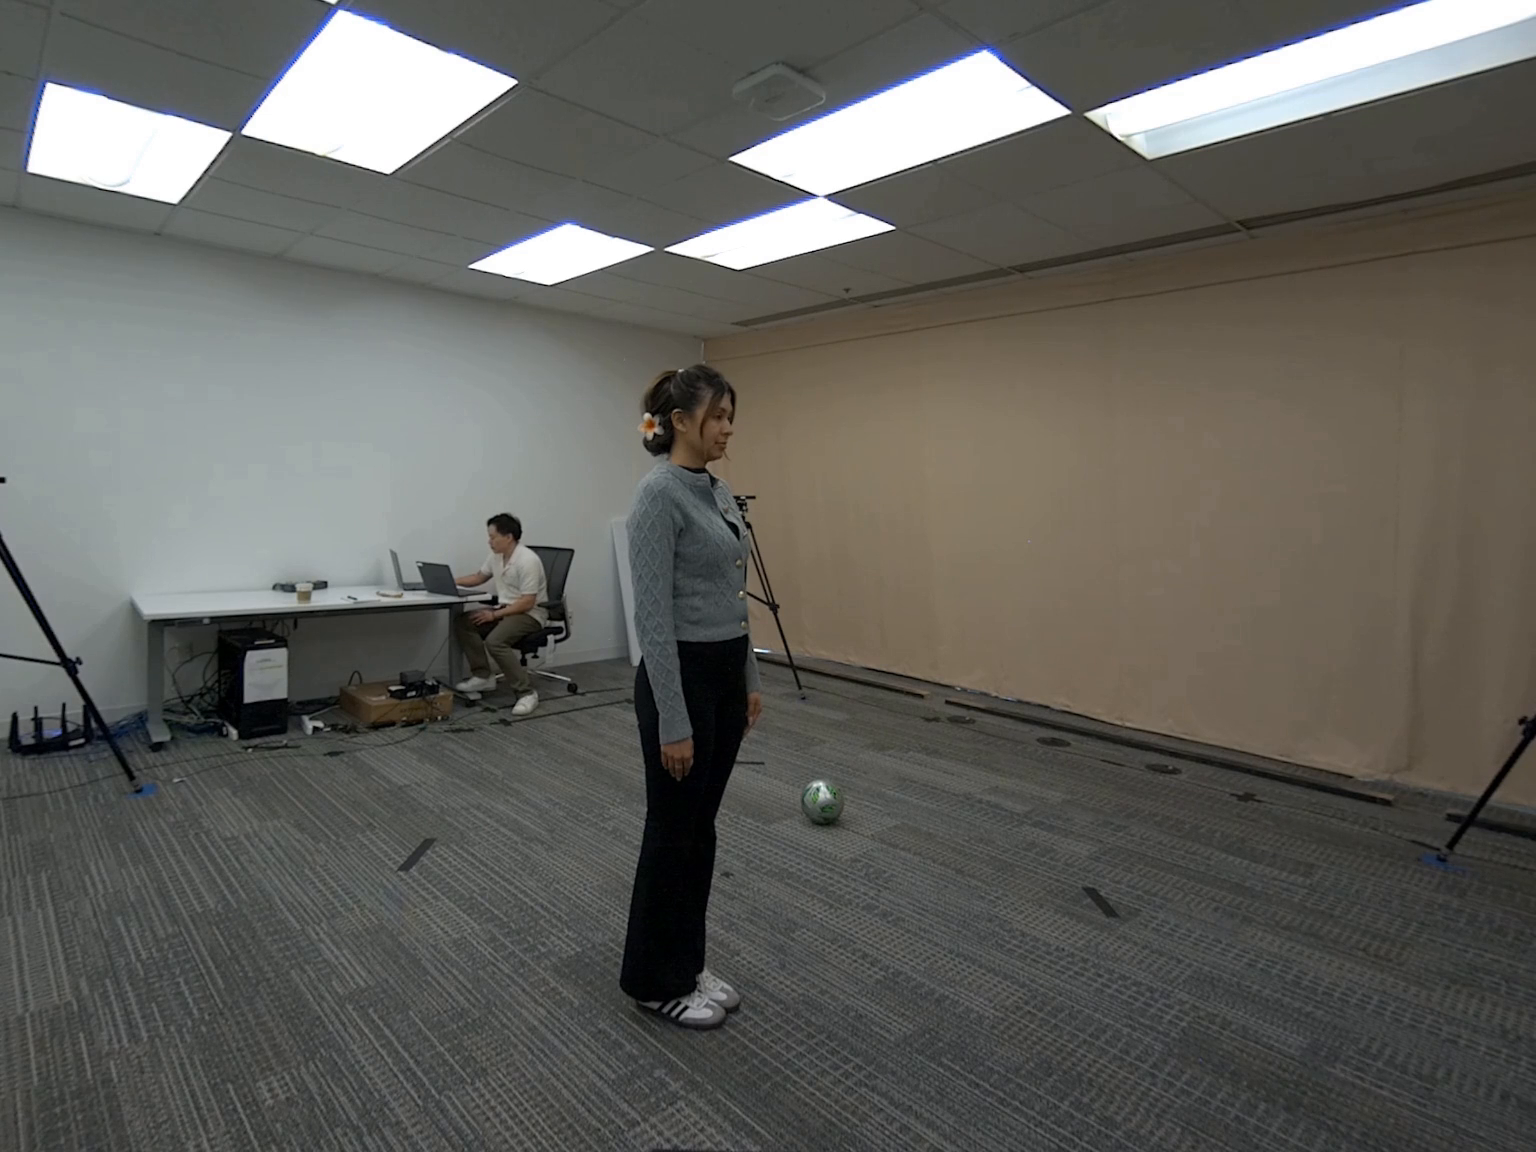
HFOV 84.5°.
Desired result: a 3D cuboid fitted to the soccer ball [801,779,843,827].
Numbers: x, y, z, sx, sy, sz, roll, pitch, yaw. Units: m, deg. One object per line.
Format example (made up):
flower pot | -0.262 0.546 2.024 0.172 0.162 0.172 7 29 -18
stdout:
soccer ball | 0.224 0.971 3.633 0.187 0.187 0.188 1 4 -1
